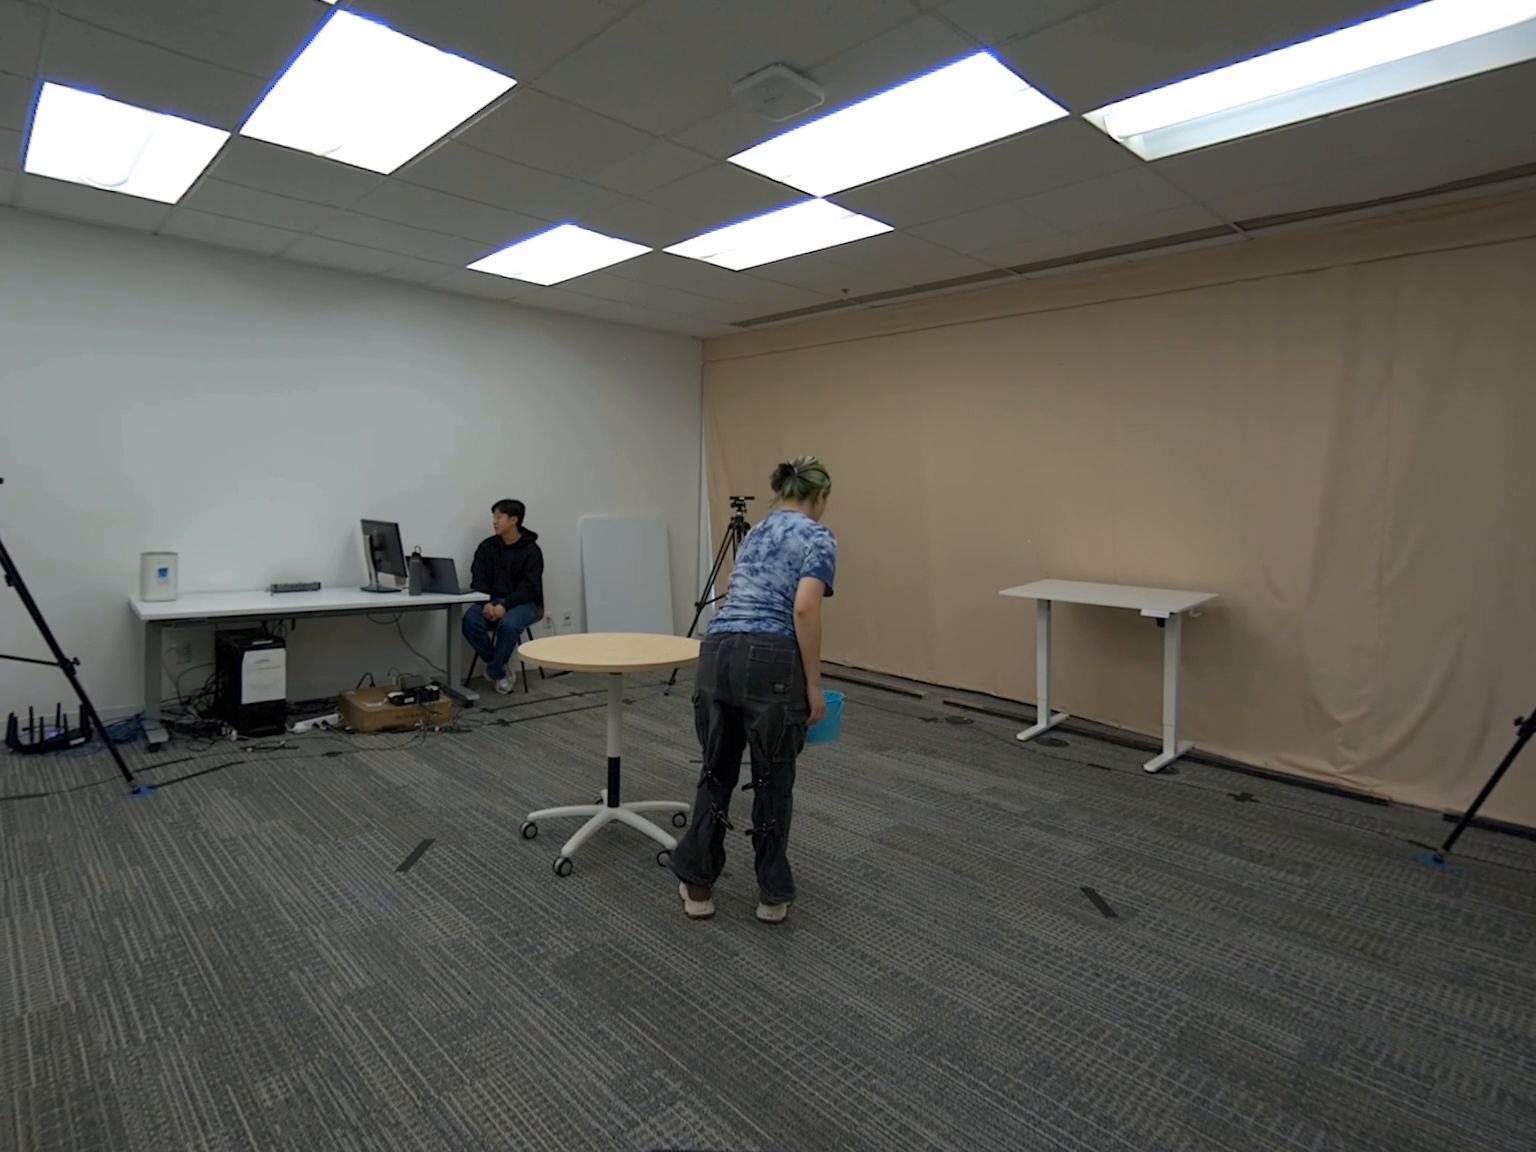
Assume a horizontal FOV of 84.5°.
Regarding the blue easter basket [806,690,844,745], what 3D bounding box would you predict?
[{"bbox_3d":[0.154,0.522,3.090,0.243,0.156,0.244,-1,3,-1],"label":"blue easter basket"}]
